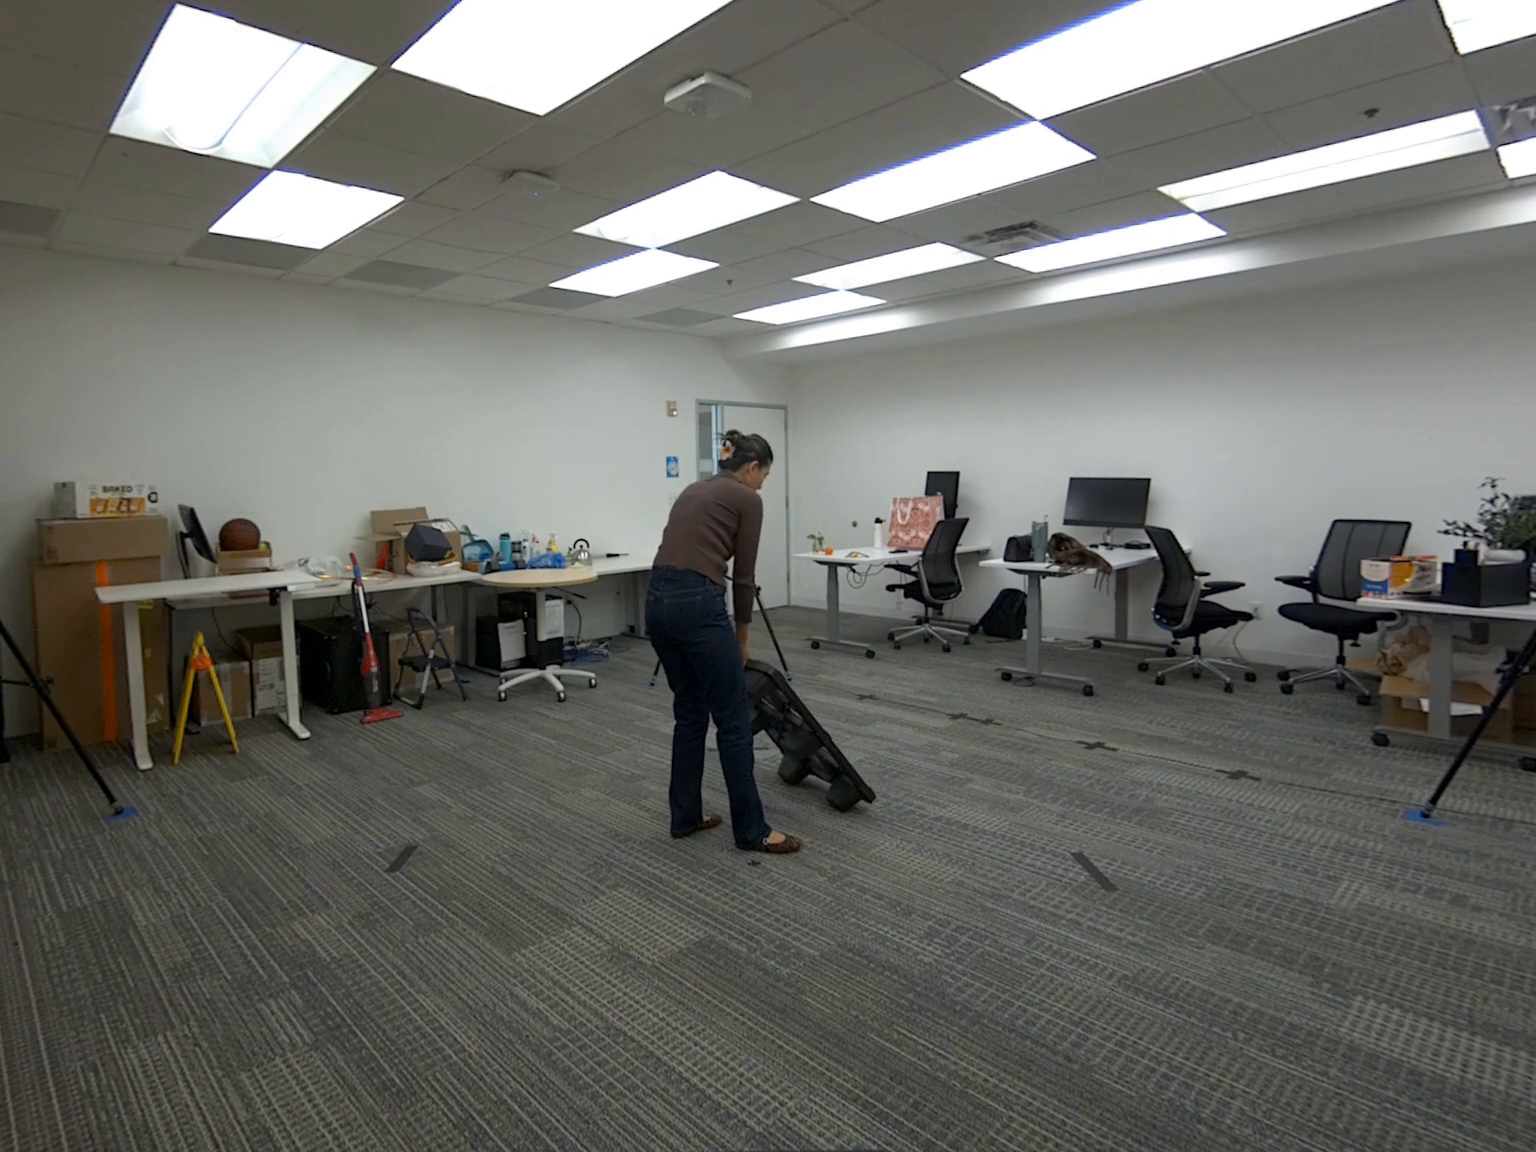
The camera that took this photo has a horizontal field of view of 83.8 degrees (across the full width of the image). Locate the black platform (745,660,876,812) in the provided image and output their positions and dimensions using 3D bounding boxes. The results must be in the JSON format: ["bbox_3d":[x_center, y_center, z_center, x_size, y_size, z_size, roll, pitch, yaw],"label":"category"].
[{"bbox_3d":[0.041,0.651,3.661,0.143,0.785,0.622,-45,23,-21],"label":"black platform"}]
